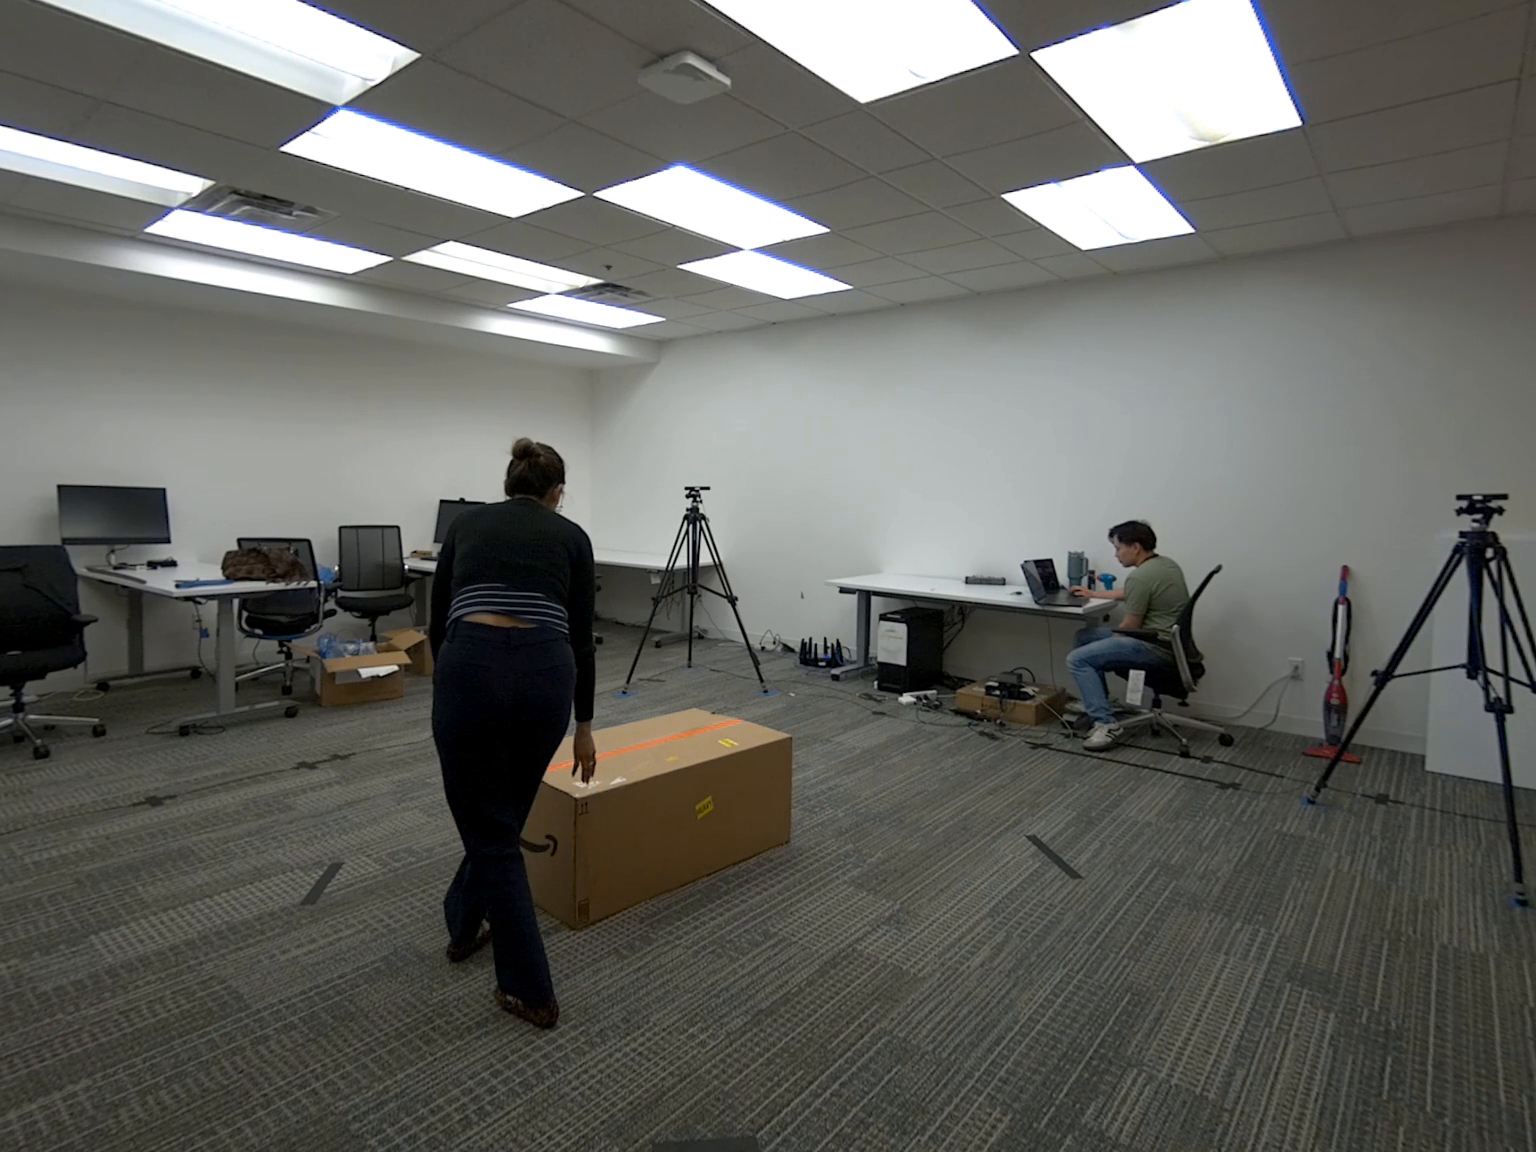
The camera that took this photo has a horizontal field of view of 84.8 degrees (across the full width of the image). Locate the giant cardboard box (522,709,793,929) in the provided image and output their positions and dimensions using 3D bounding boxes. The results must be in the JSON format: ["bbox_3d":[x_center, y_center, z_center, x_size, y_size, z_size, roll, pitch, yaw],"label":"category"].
[{"bbox_3d":[-0.469,0.840,3.196,0.597,0.424,0.995,6,8,44],"label":"giant cardboard box"}]
